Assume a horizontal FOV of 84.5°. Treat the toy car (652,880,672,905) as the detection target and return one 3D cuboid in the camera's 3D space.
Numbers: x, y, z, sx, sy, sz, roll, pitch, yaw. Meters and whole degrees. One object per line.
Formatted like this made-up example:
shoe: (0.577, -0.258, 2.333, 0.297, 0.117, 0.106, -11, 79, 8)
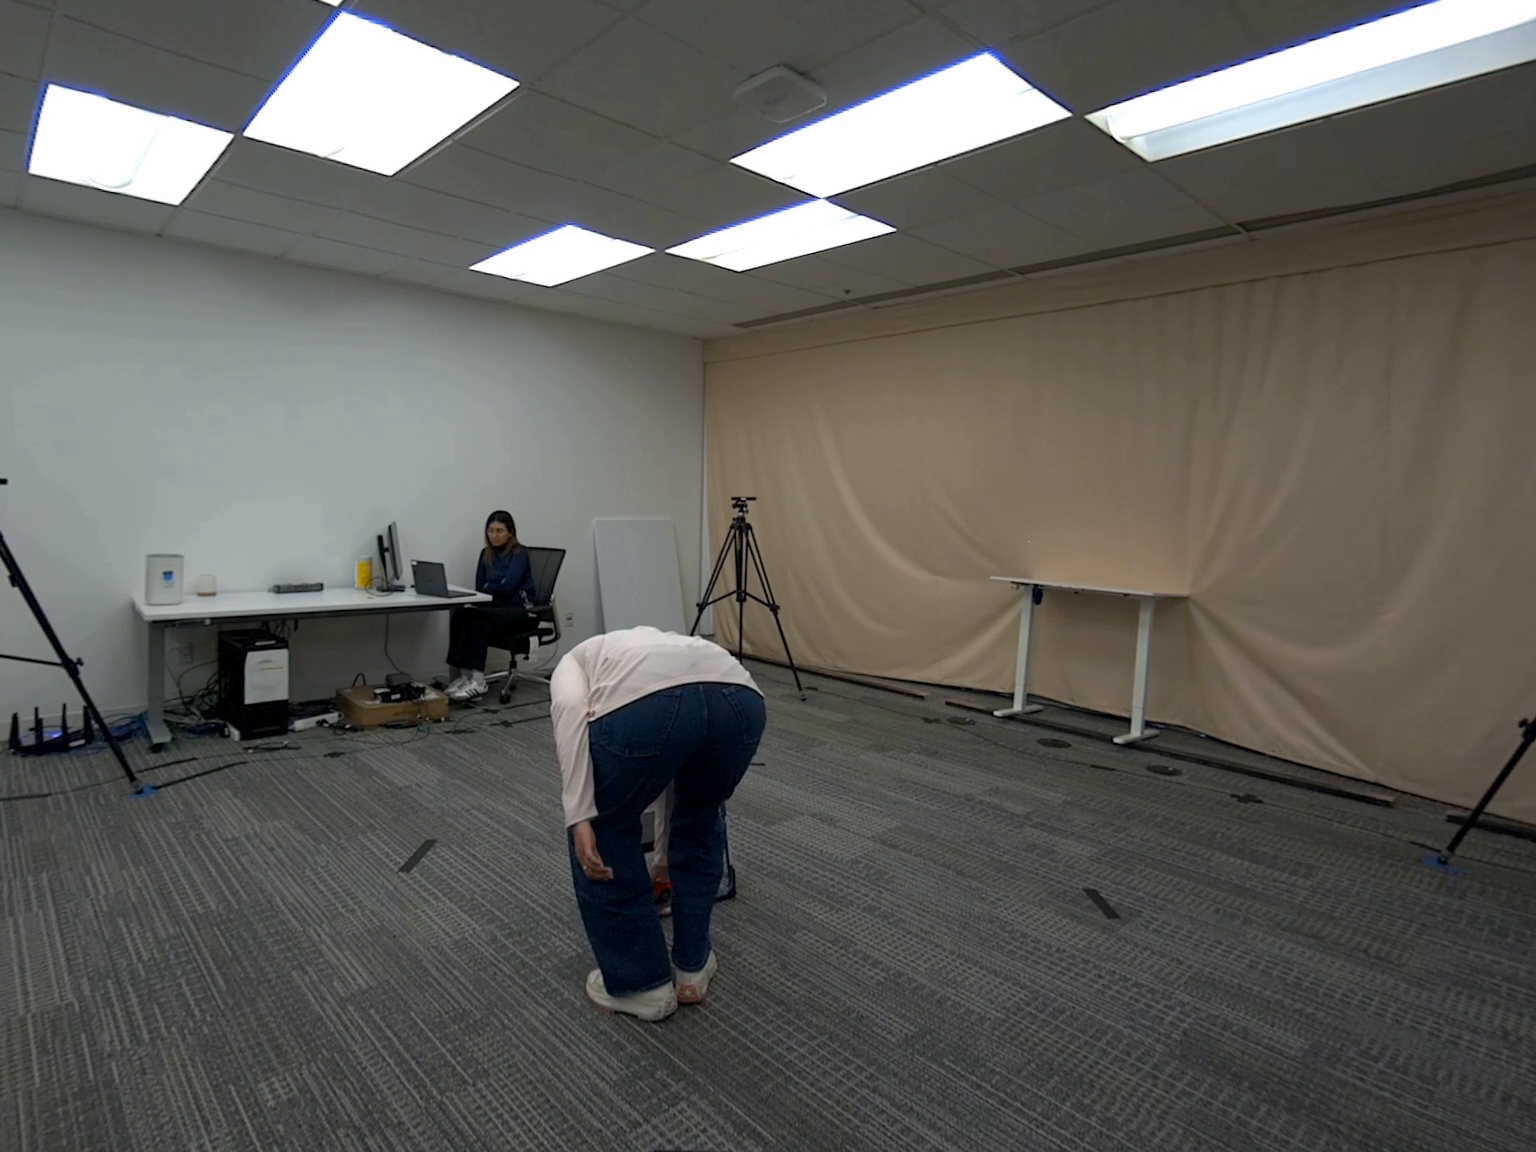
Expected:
toy car: (-0.424, 1.087, 2.890, 0.250, 0.082, 0.133, -17, 13, -39)
